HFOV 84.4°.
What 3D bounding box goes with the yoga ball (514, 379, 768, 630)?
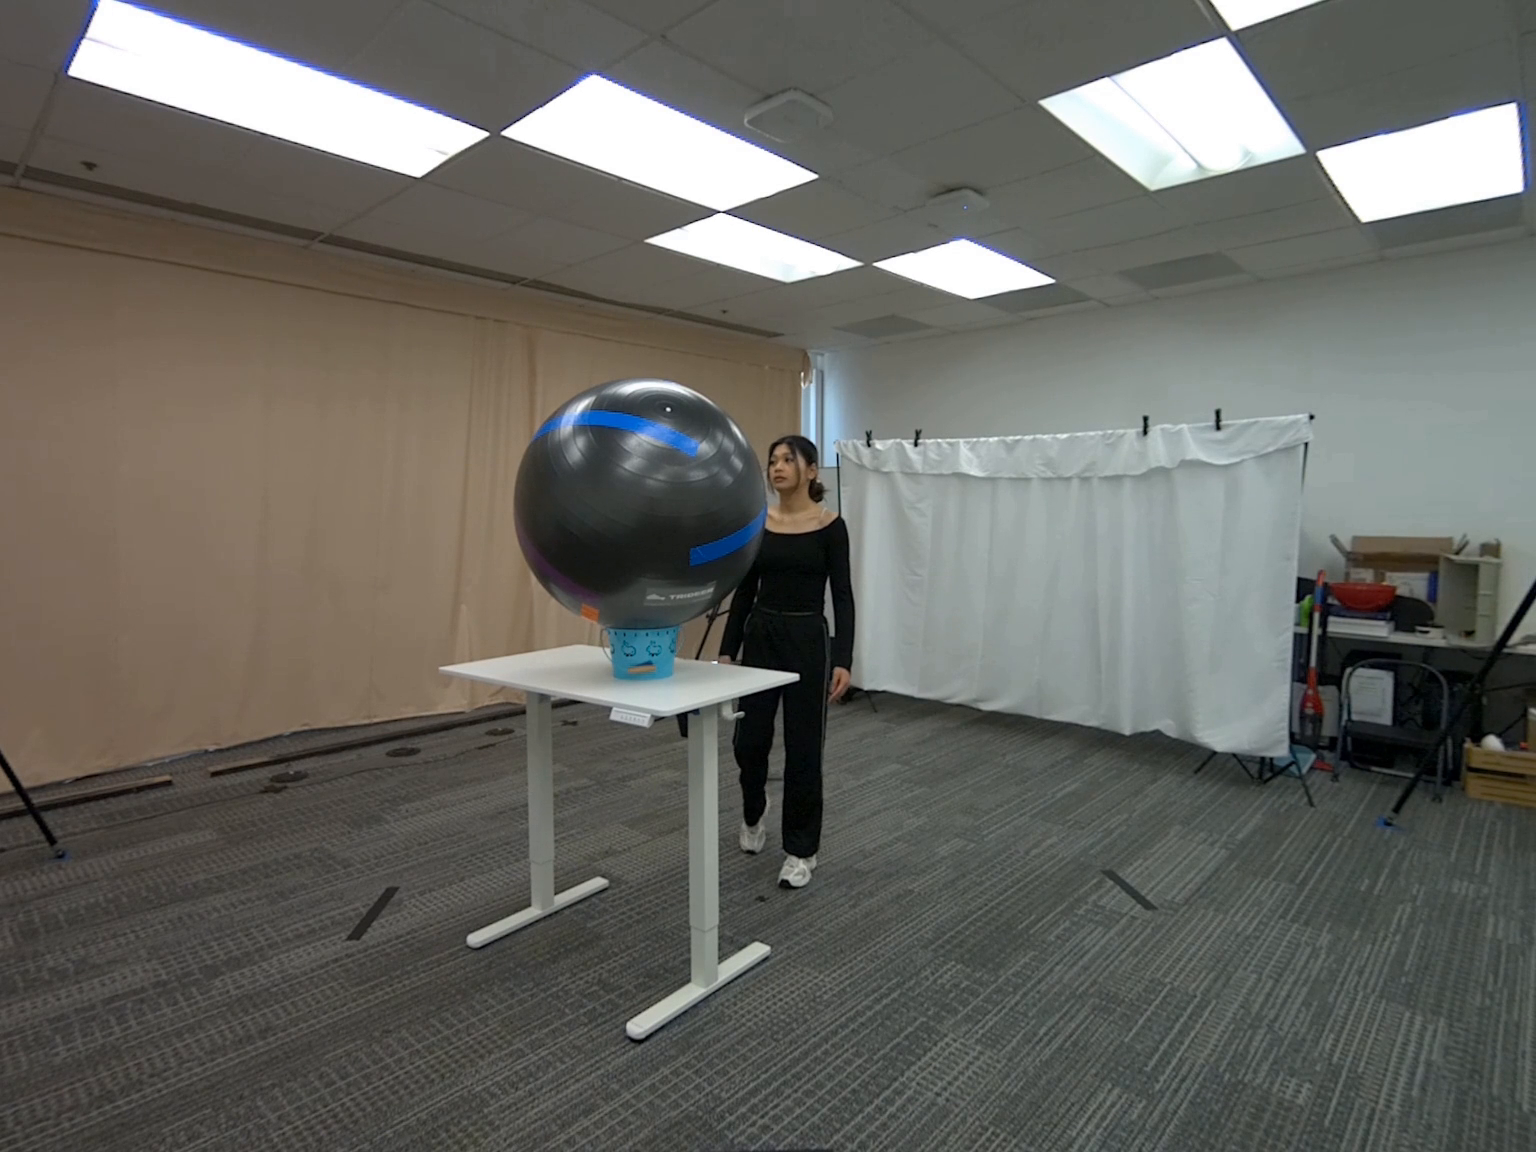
[{"bbox_3d":[-0.382,-0.205,2.540,0.757,0.756,0.761,0,4,-2],"label":"yoga ball"}]
